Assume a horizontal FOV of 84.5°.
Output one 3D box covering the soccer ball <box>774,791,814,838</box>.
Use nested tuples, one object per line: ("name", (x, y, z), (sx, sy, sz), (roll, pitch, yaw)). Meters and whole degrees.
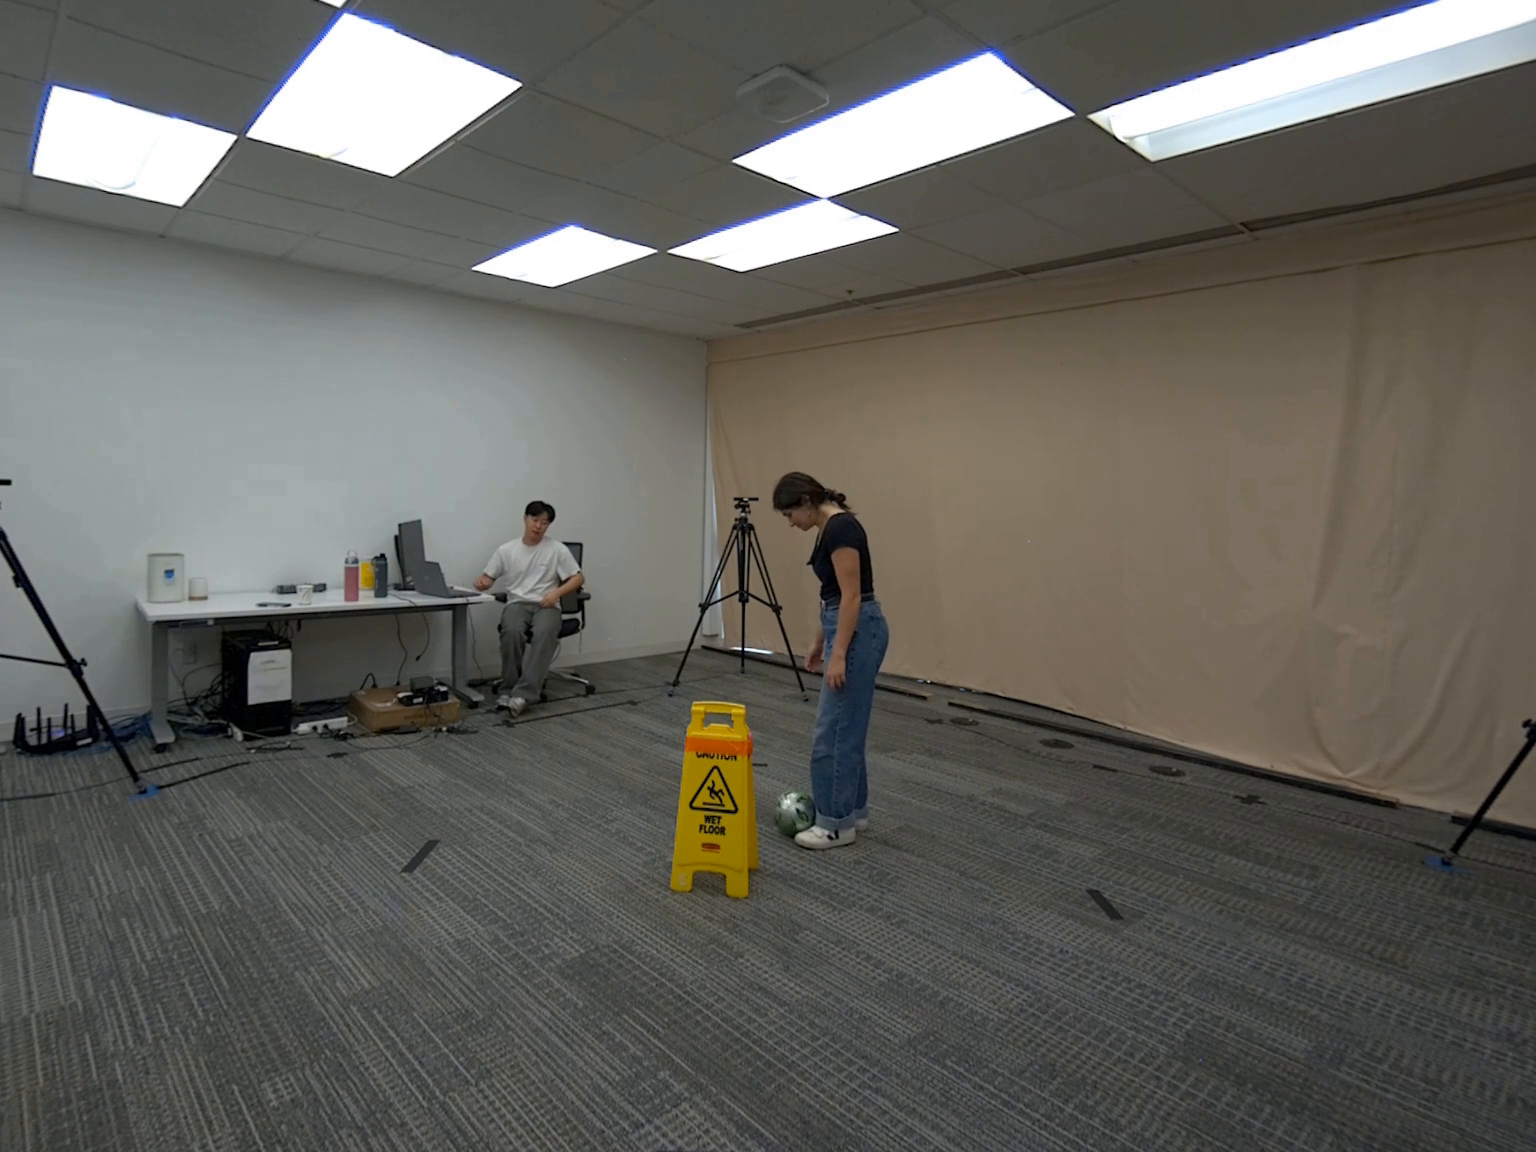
("soccer ball", (0.108, 0.986, 3.503), (0.187, 0.187, 0.188), (1, 4, -1))
